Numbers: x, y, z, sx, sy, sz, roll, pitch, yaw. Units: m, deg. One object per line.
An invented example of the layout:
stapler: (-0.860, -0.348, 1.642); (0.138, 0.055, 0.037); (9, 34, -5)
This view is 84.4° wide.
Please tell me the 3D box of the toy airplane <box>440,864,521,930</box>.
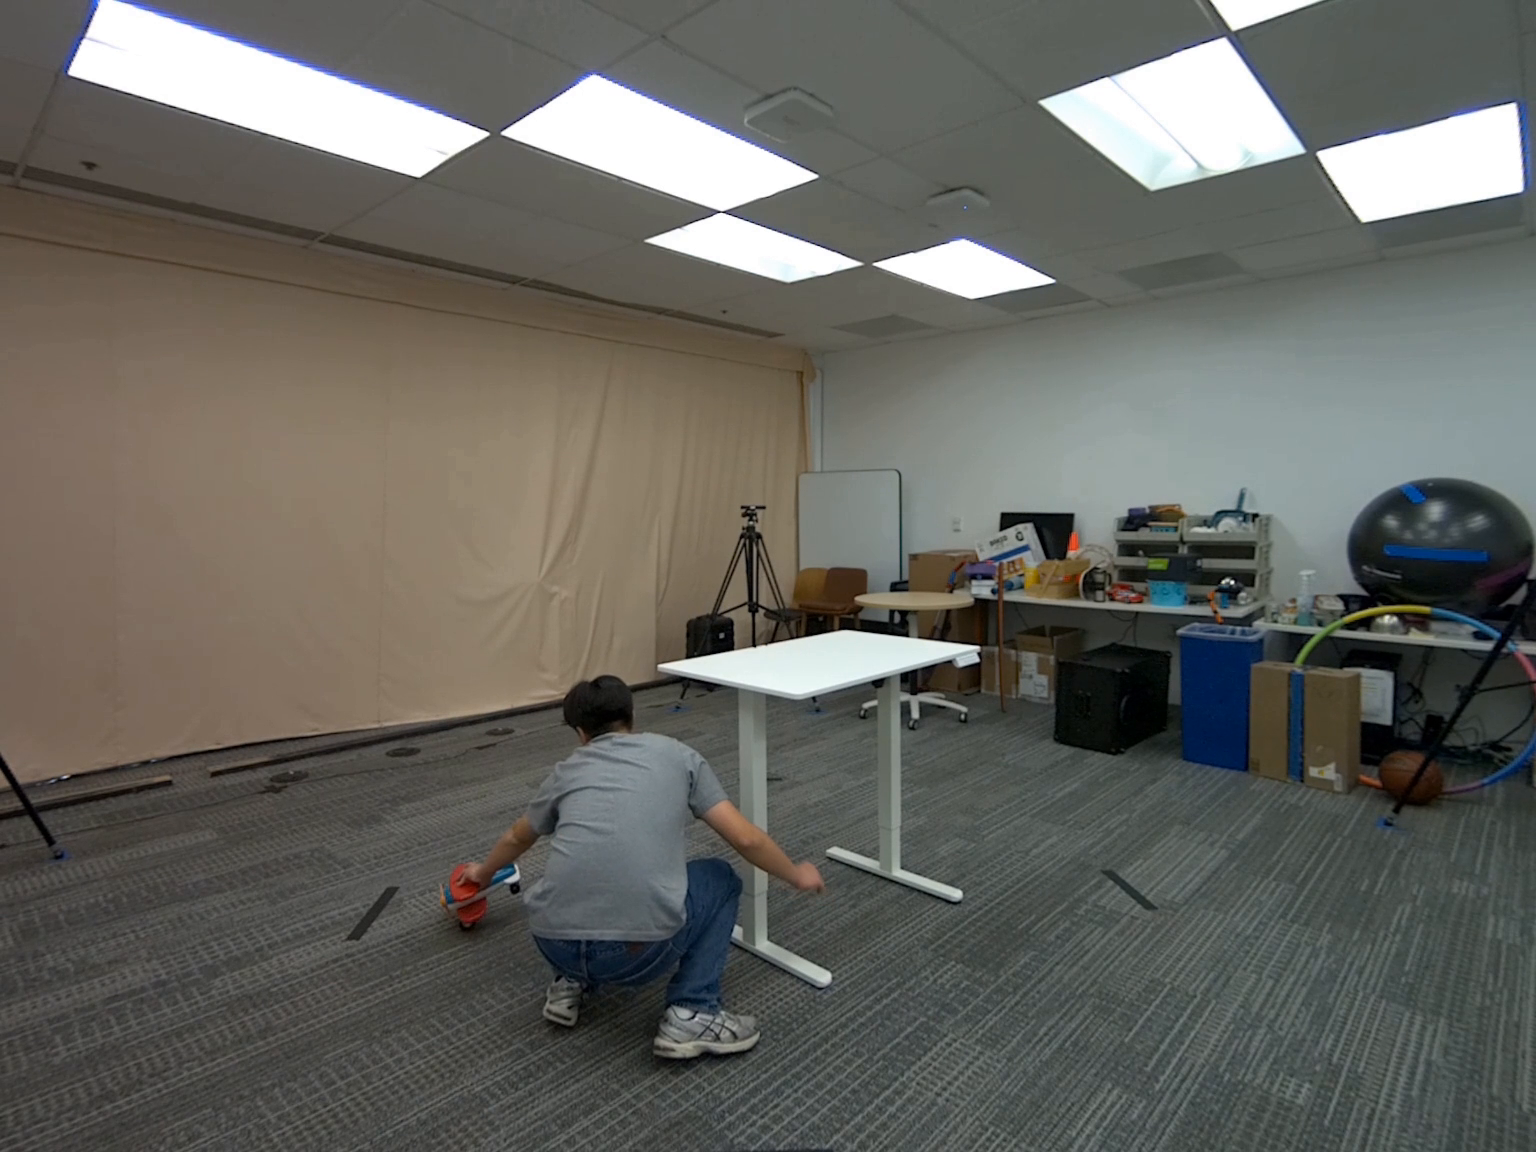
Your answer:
toy airplane: (-0.971, 1.055, 2.849); (0.258, 0.154, 0.256); (-13, 21, 44)
